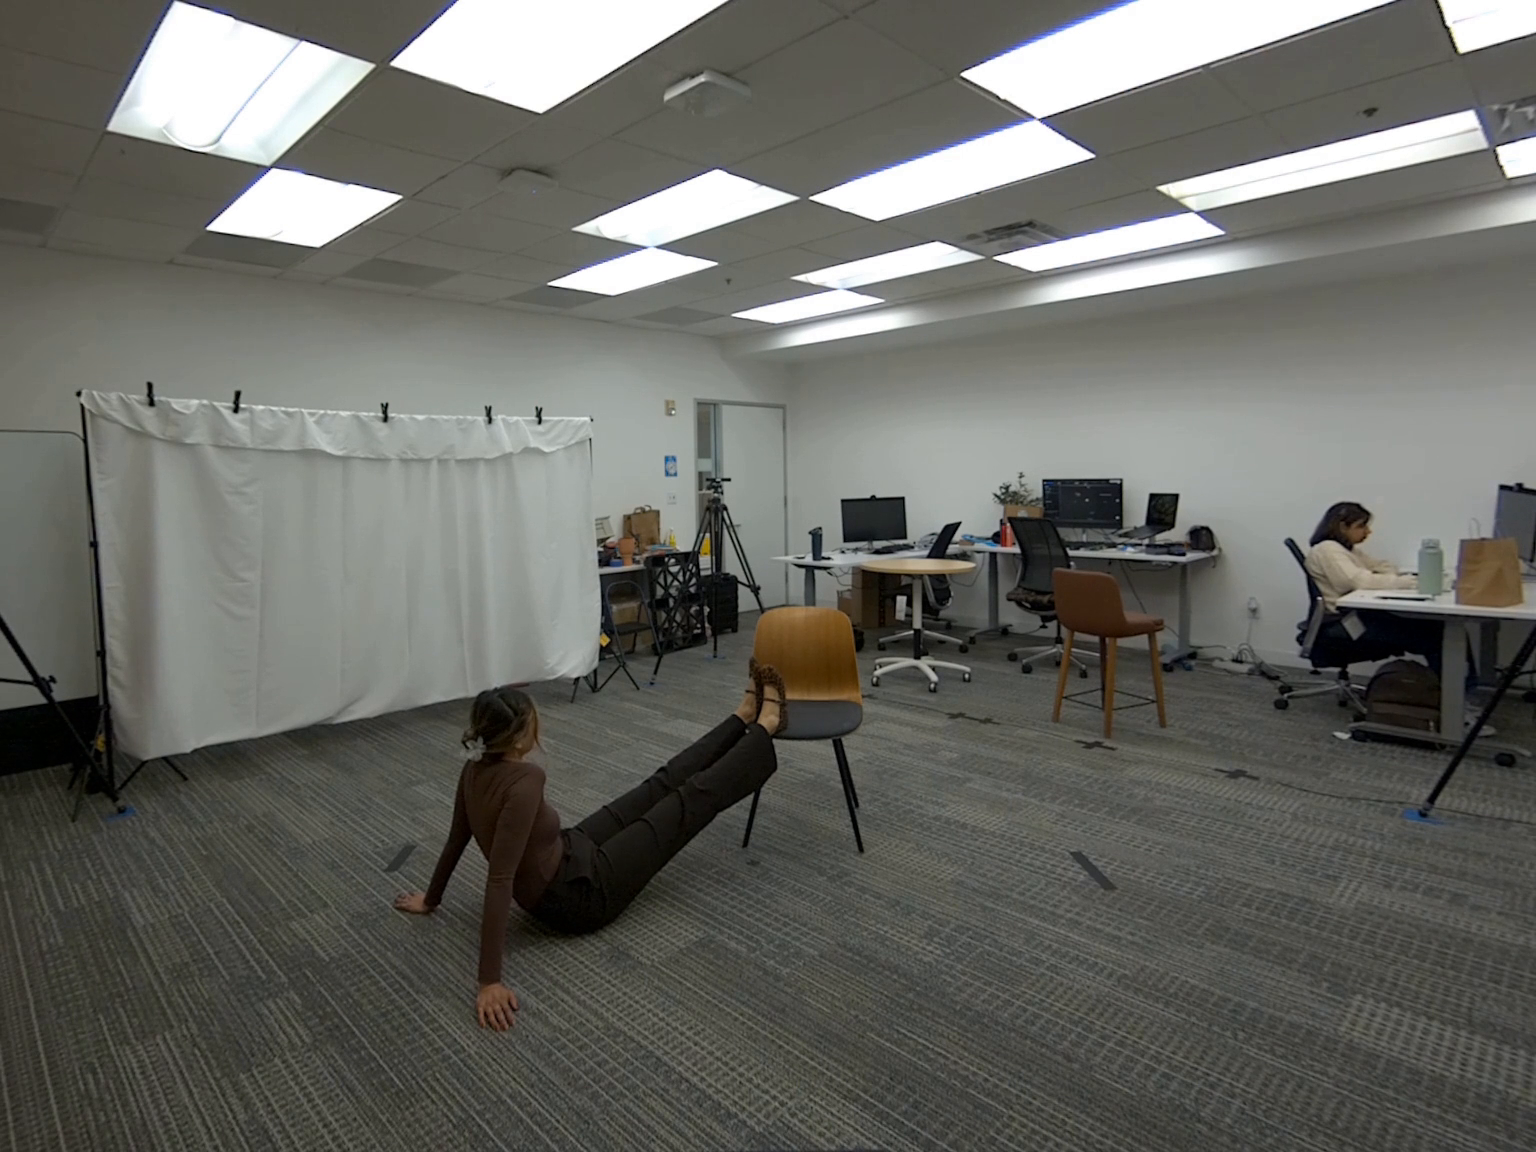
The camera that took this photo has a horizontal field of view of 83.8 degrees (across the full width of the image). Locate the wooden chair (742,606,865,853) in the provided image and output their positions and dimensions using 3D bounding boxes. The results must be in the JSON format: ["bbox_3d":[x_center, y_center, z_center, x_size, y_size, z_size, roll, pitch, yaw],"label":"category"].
[{"bbox_3d":[0.141,0.579,3.388,0.481,0.877,0.519,0,0,6],"label":"wooden chair"}]
